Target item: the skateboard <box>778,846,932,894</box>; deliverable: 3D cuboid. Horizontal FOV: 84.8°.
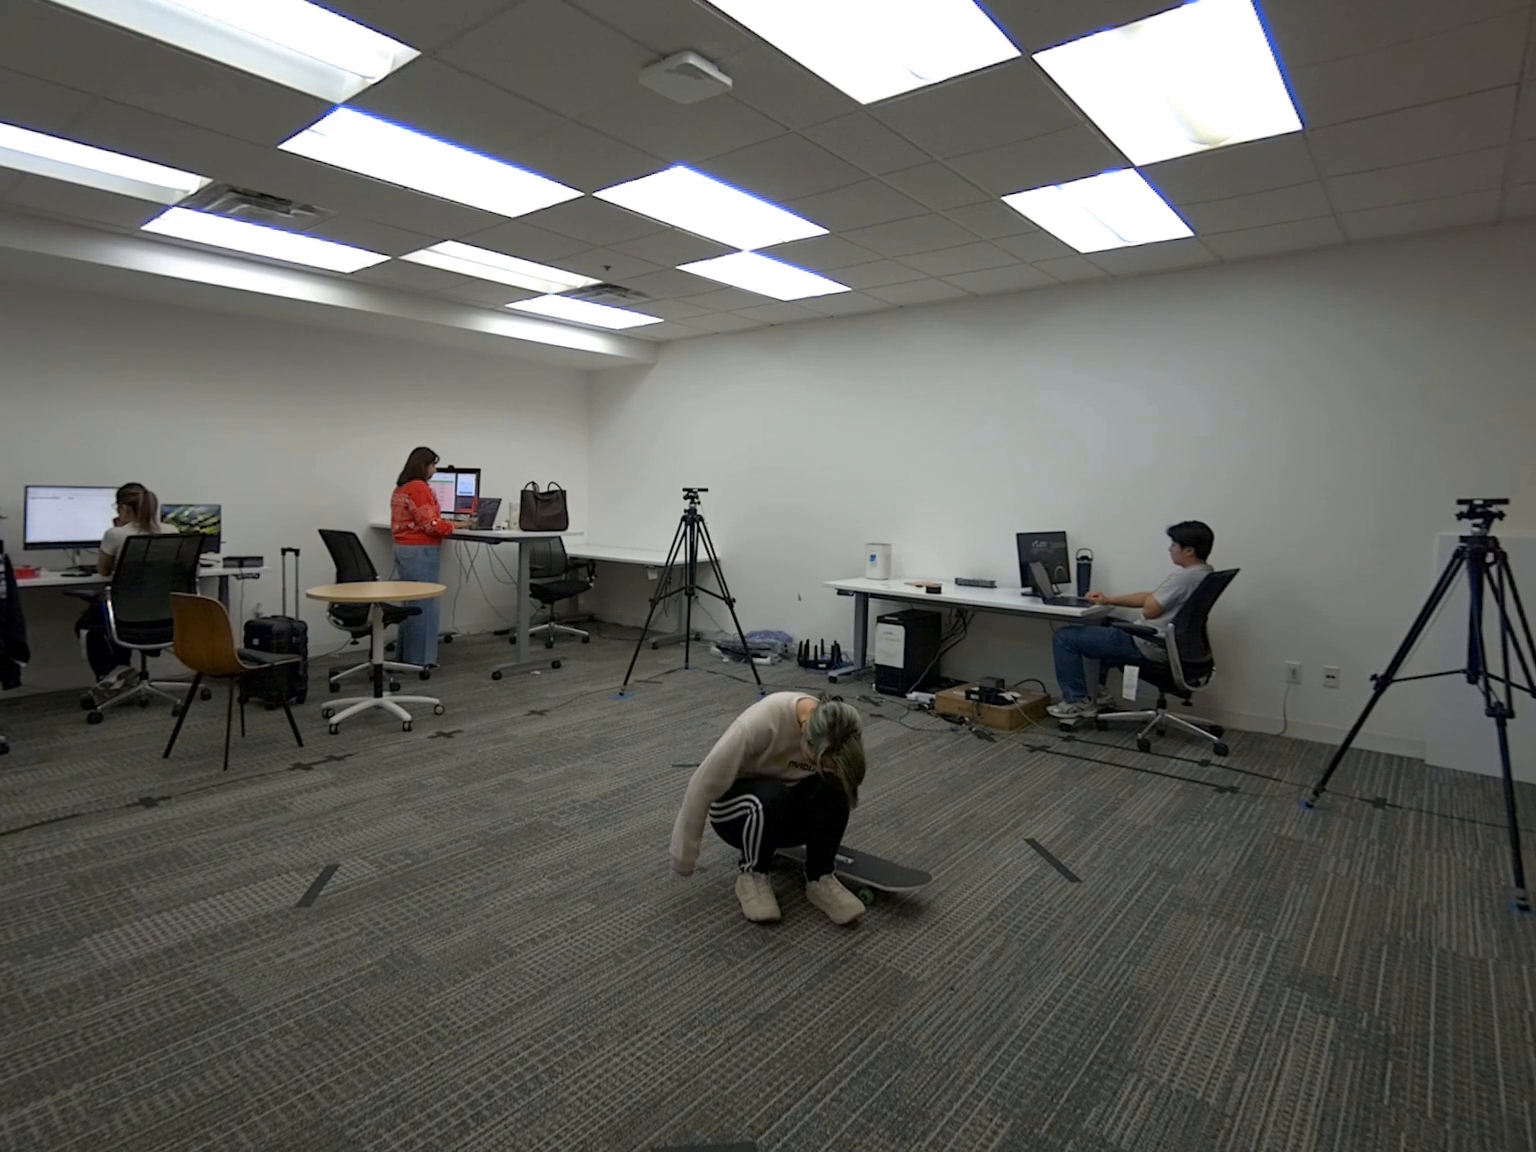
[{"bbox_3d":[0.203,1.022,3.051,0.812,0.110,0.188,6,7,37],"label":"skateboard"}]
